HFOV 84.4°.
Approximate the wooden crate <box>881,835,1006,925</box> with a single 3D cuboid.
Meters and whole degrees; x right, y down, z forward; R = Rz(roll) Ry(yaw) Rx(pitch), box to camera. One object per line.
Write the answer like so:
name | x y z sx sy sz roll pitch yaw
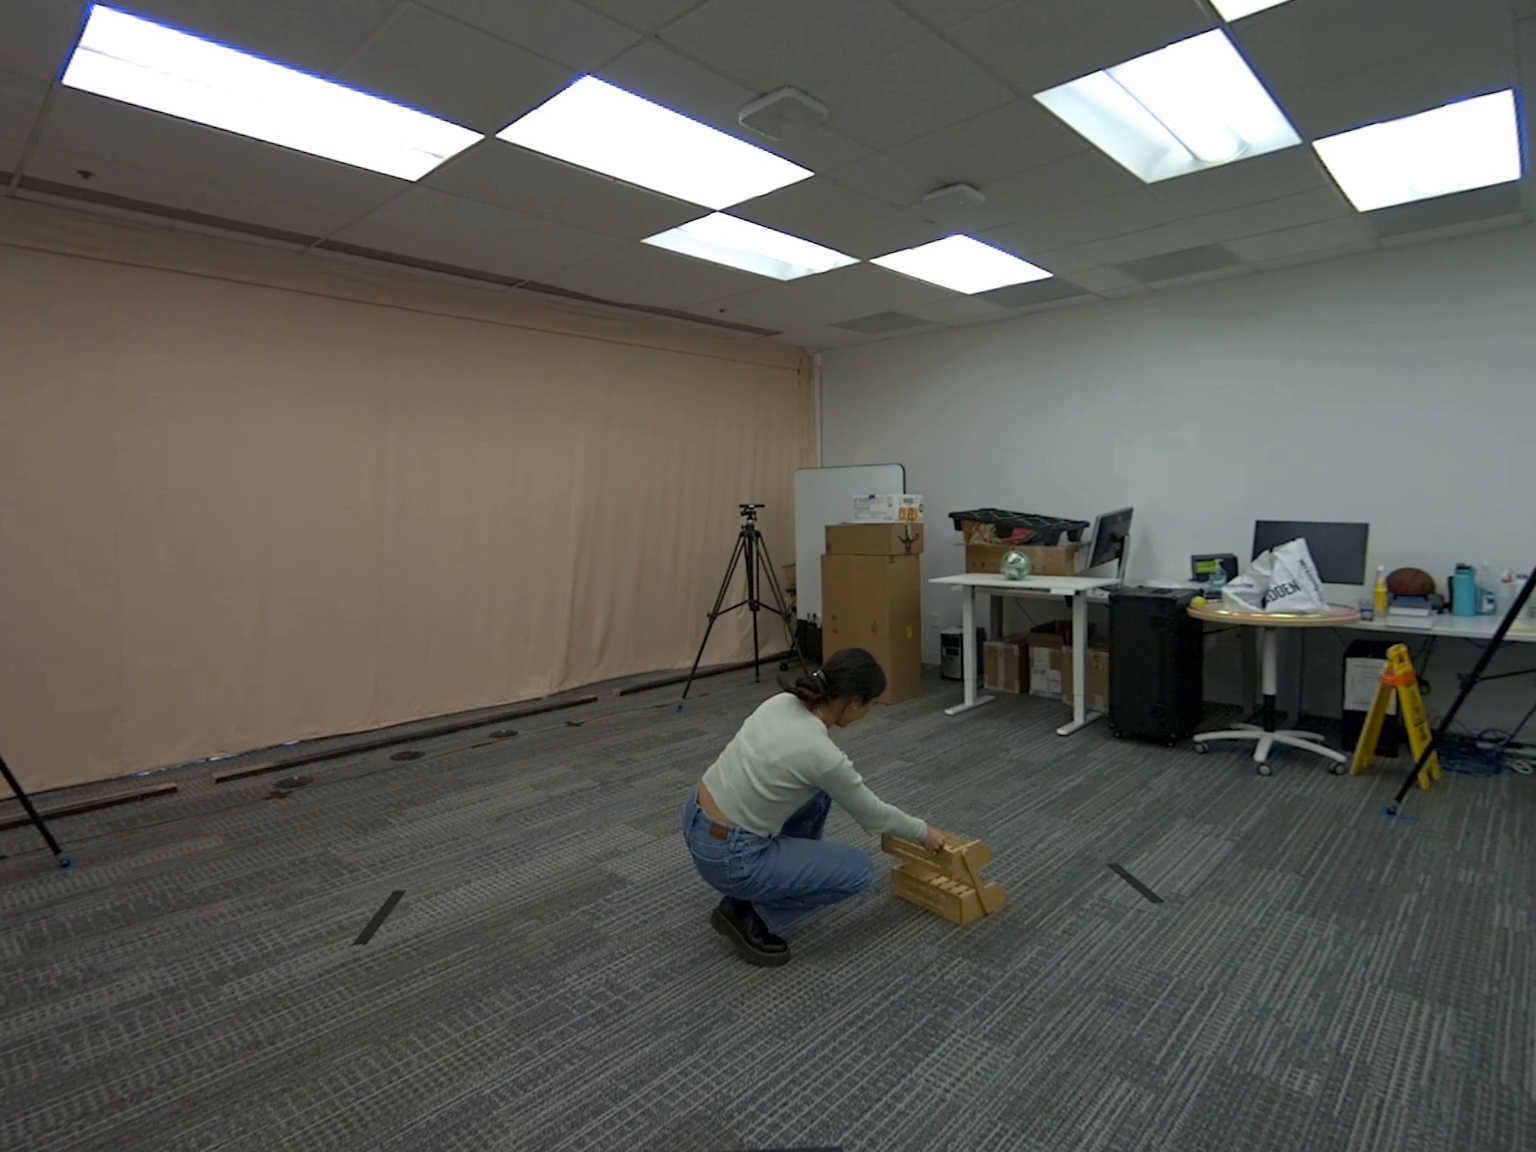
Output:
wooden crate | 0.620 0.999 2.922 0.293 0.273 0.335 -5 5 -39
